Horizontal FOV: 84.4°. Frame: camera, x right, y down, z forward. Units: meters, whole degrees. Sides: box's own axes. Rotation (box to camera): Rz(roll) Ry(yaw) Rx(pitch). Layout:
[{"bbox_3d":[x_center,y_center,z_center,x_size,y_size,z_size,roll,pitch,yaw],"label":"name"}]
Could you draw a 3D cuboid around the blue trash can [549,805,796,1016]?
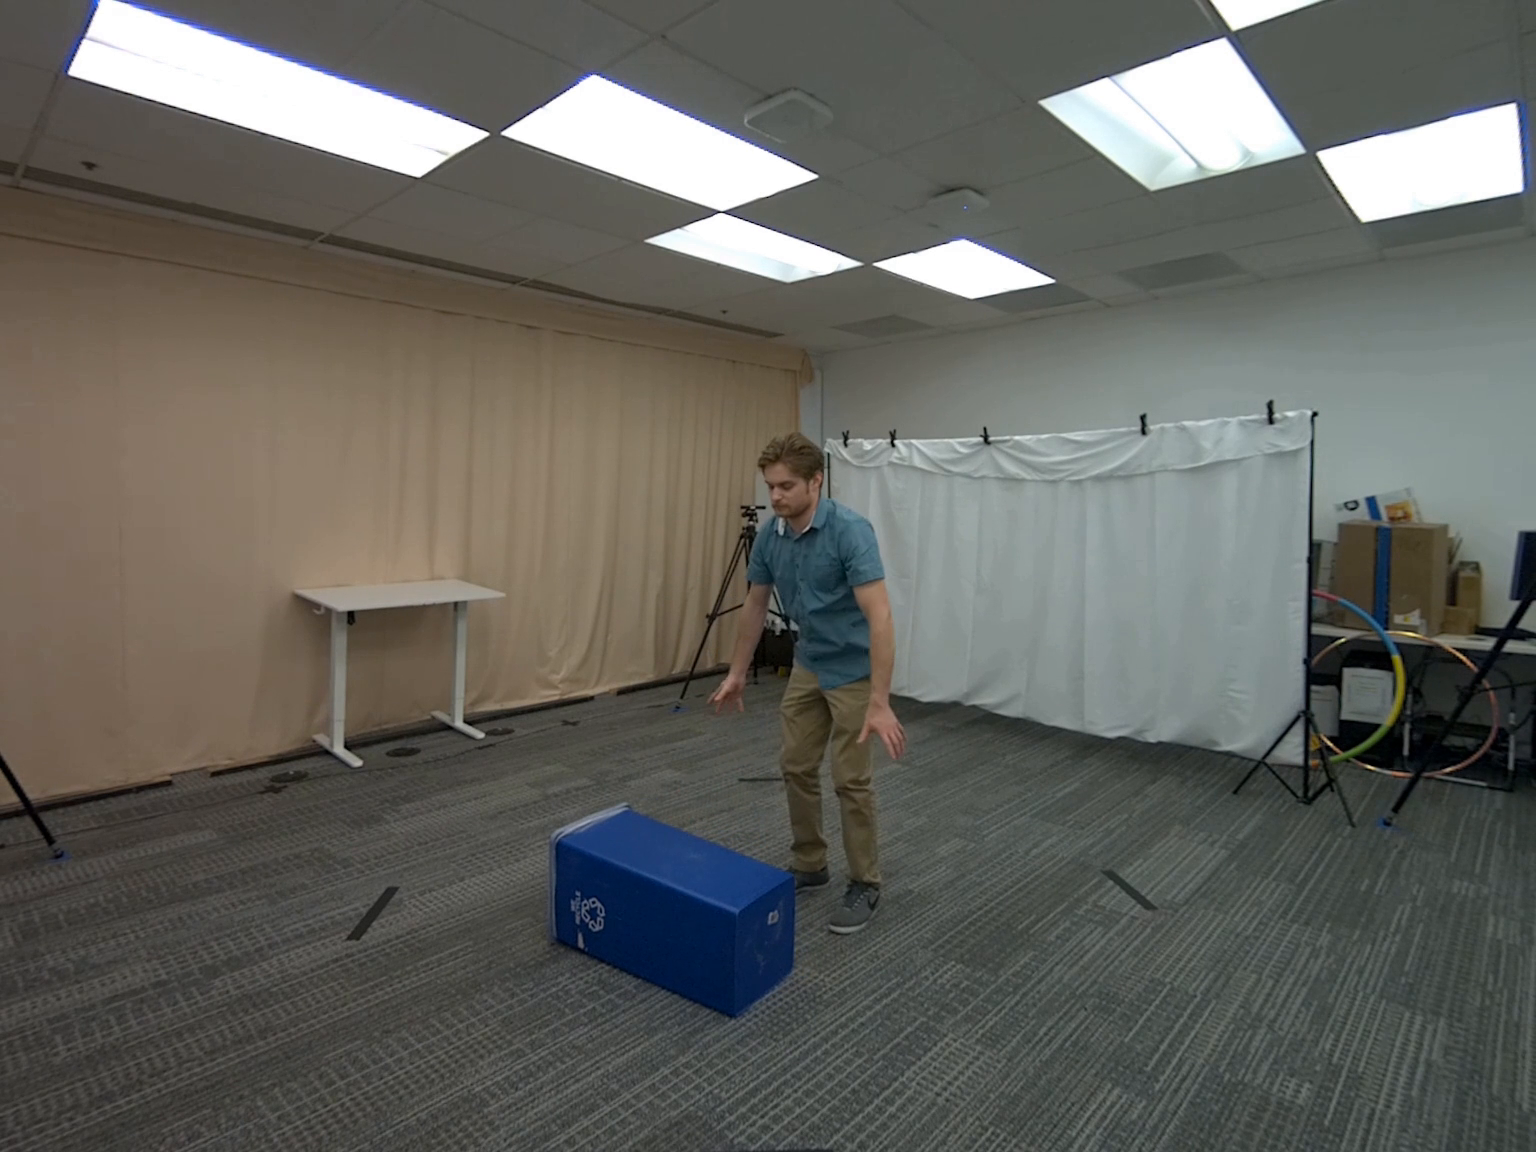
[{"bbox_3d":[-0.296,1.014,2.603,0.737,0.377,0.363,6,6,35],"label":"blue trash can"}]
